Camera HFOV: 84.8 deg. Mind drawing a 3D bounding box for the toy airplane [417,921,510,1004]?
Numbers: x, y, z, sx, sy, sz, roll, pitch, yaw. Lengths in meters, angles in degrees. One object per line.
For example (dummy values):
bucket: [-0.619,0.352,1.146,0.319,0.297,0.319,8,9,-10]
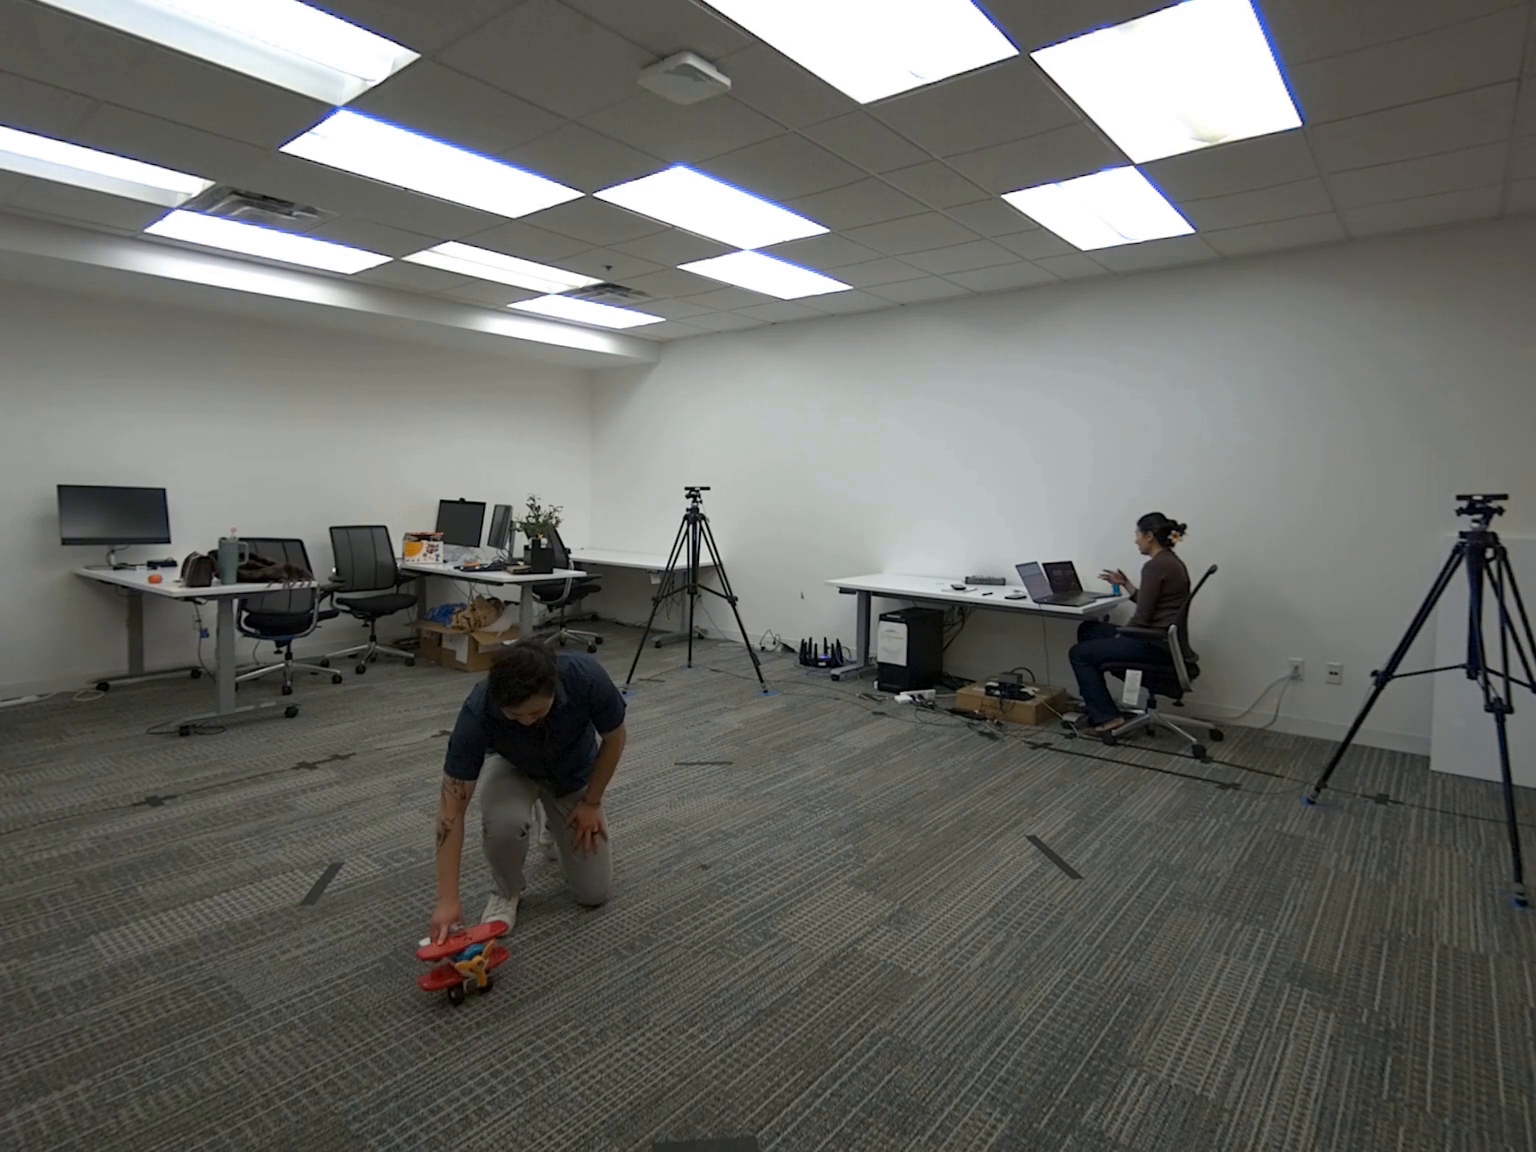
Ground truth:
toy airplane: [-0.886,1.051,2.350,0.265,0.155,0.248,11,13,17]
